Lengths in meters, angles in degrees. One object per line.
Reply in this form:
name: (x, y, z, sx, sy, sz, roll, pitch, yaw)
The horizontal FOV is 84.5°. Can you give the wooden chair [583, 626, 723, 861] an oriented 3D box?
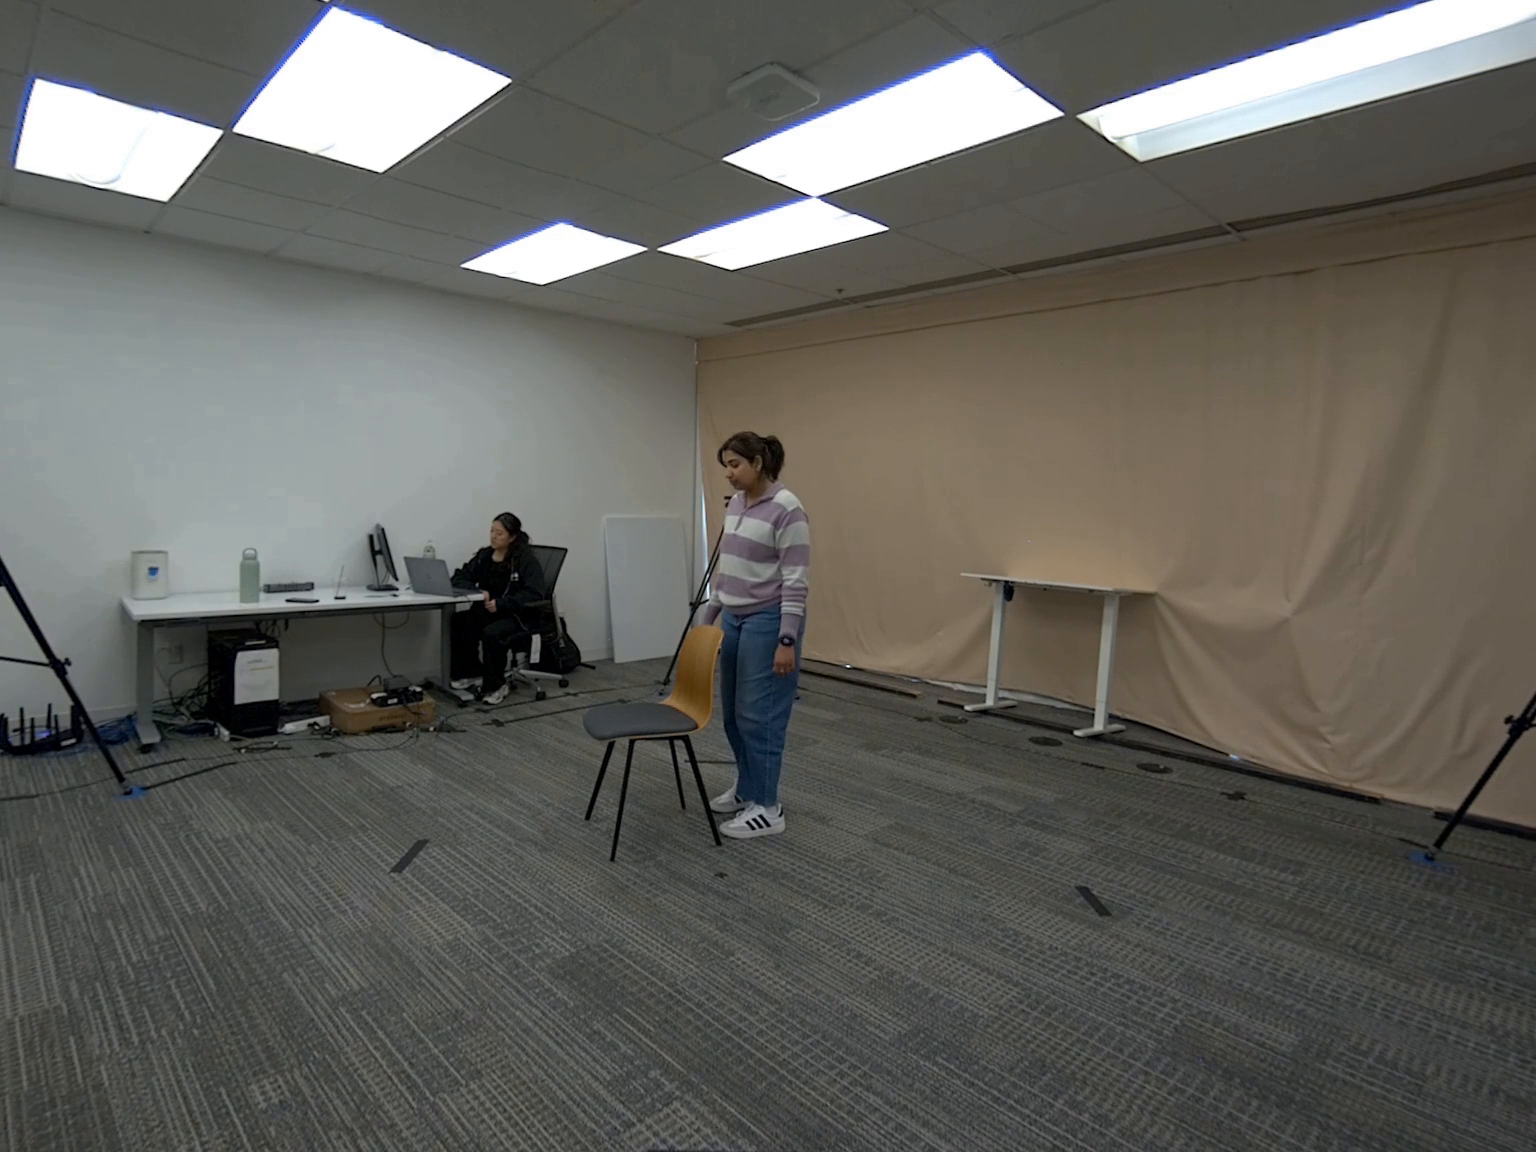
wooden chair: (-0.489, 0.638, 3.445, 0.513, 0.876, 0.487, 4, 2, -24)
